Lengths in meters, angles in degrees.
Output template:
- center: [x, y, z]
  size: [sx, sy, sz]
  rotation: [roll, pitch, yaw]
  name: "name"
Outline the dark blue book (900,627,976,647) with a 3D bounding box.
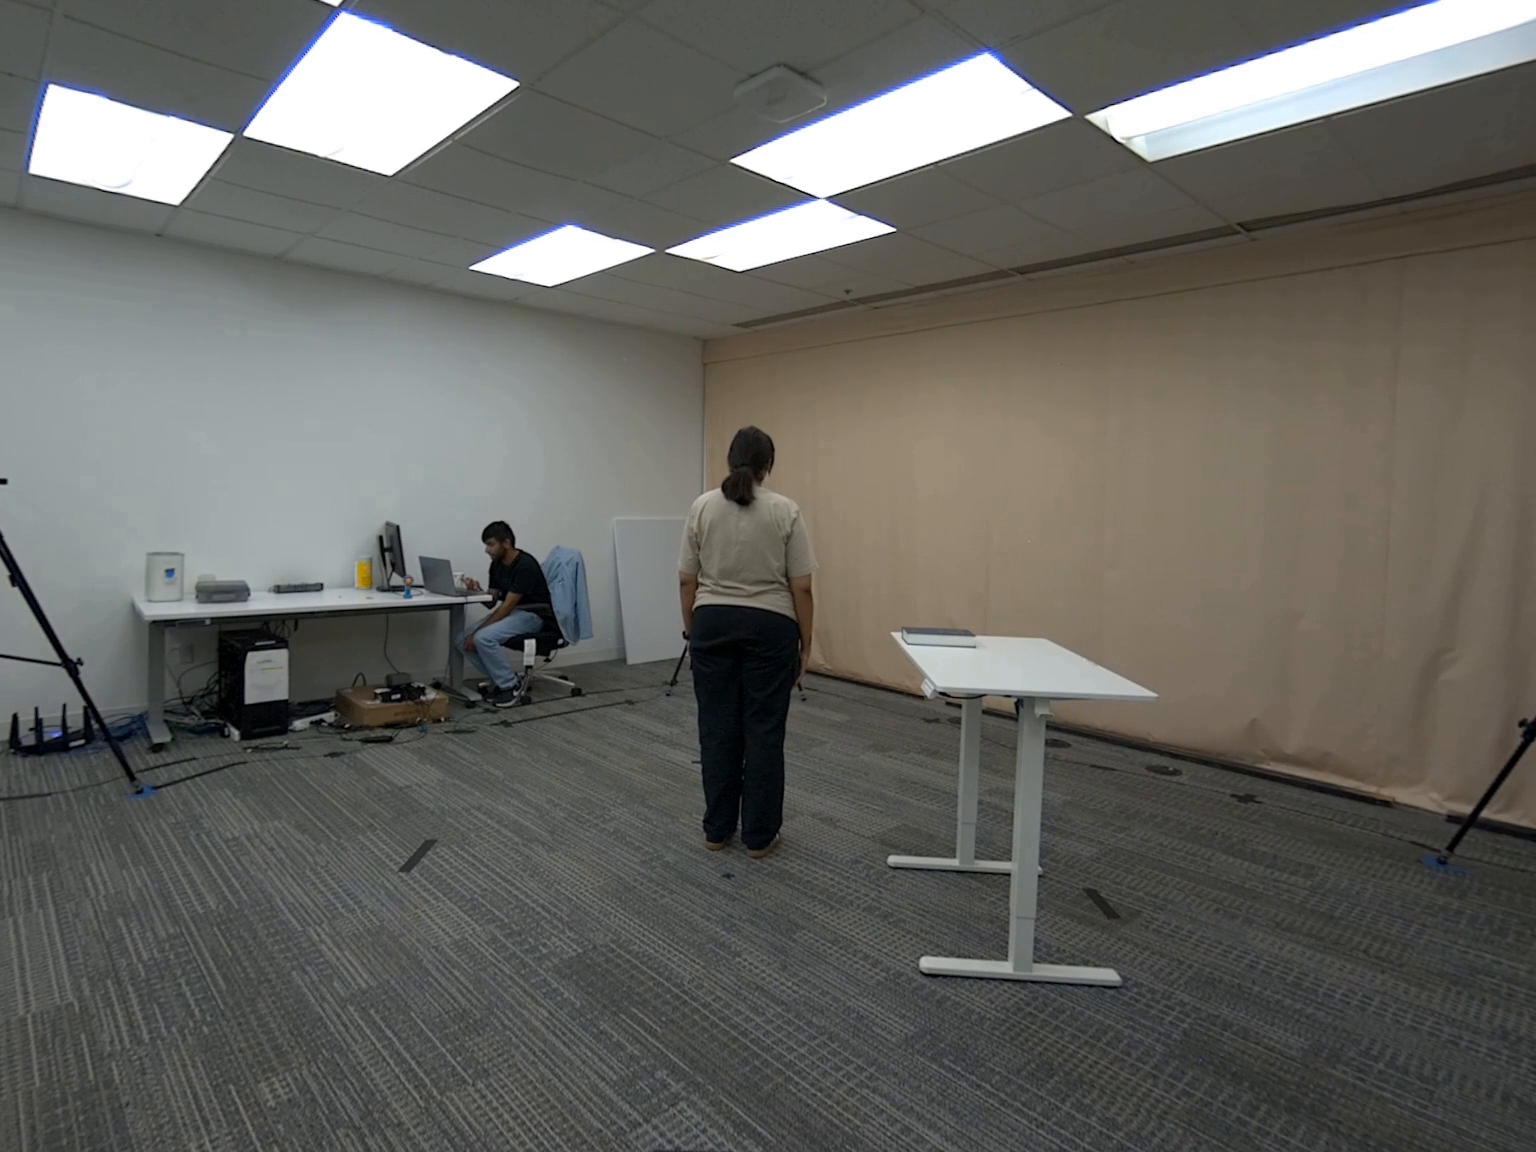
- center: [0.632, 0.224, 3.103]
  size: [0.246, 0.045, 0.163]
  rotation: [3, 6, 4]
  name: "dark blue book"
